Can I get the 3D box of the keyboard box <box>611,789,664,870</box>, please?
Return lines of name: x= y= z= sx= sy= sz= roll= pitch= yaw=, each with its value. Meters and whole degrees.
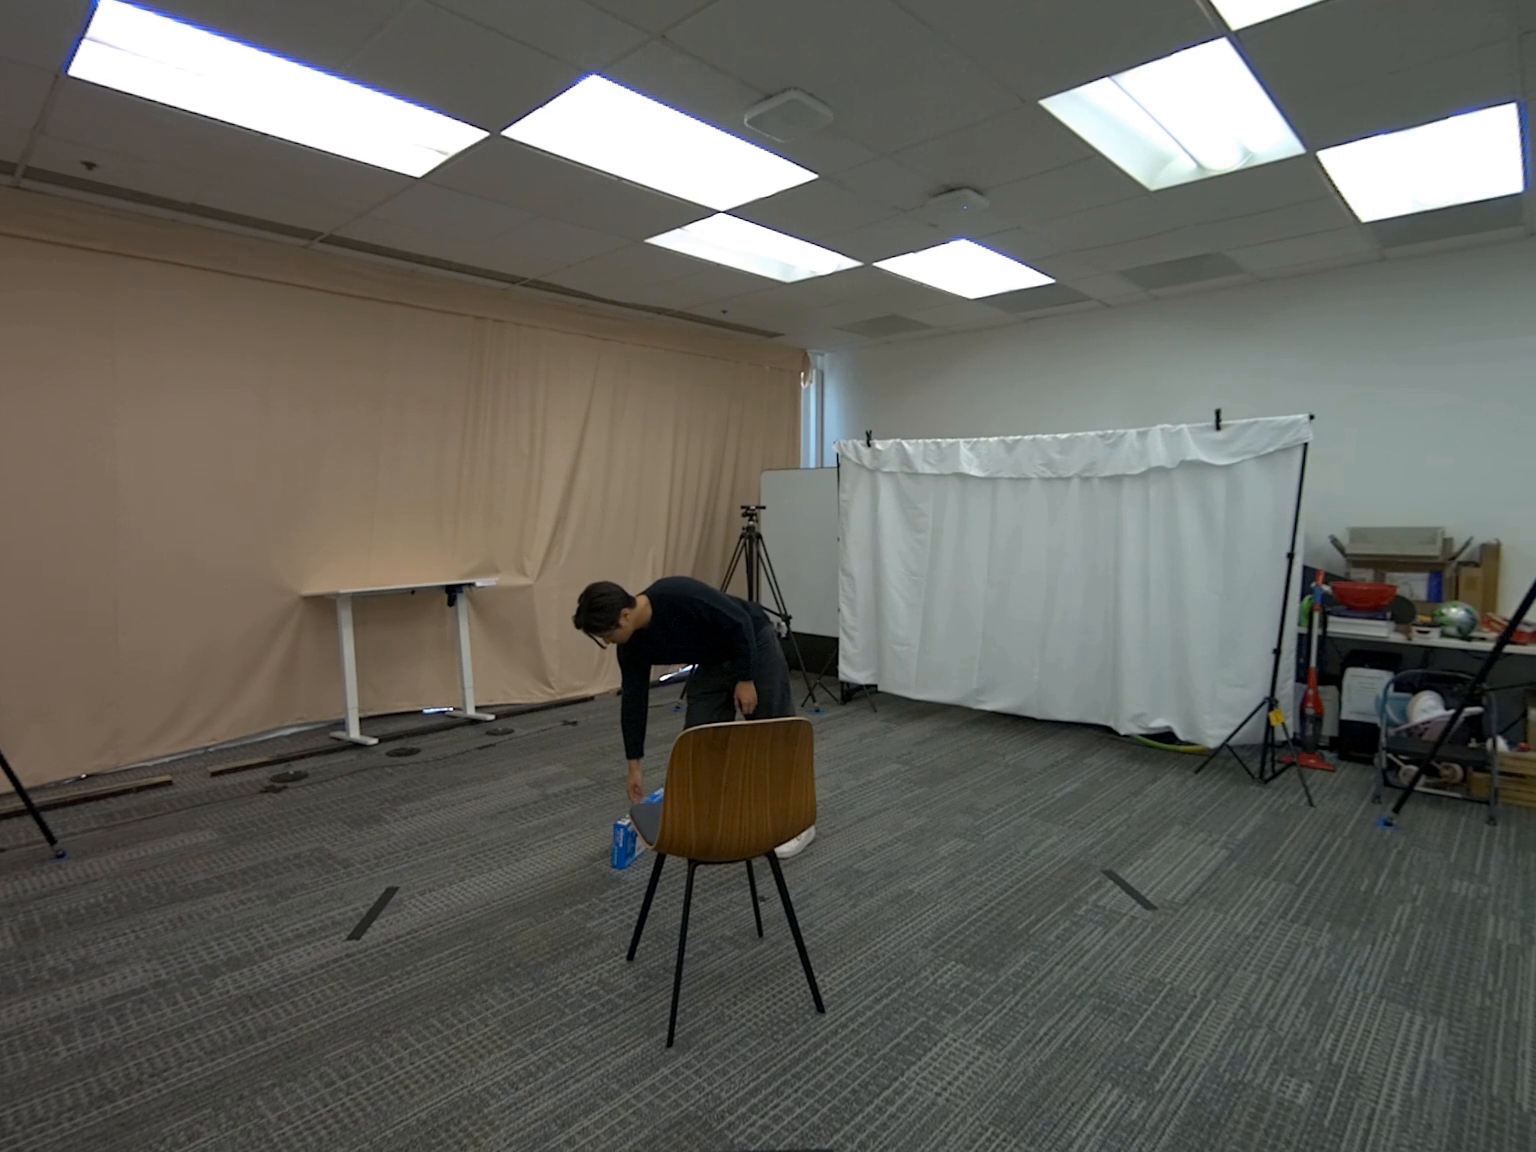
keyboard box: x=-0.512 y=1.017 z=3.440 sx=0.060 sy=0.175 sz=0.429 roll=6 pitch=4 yaw=16
